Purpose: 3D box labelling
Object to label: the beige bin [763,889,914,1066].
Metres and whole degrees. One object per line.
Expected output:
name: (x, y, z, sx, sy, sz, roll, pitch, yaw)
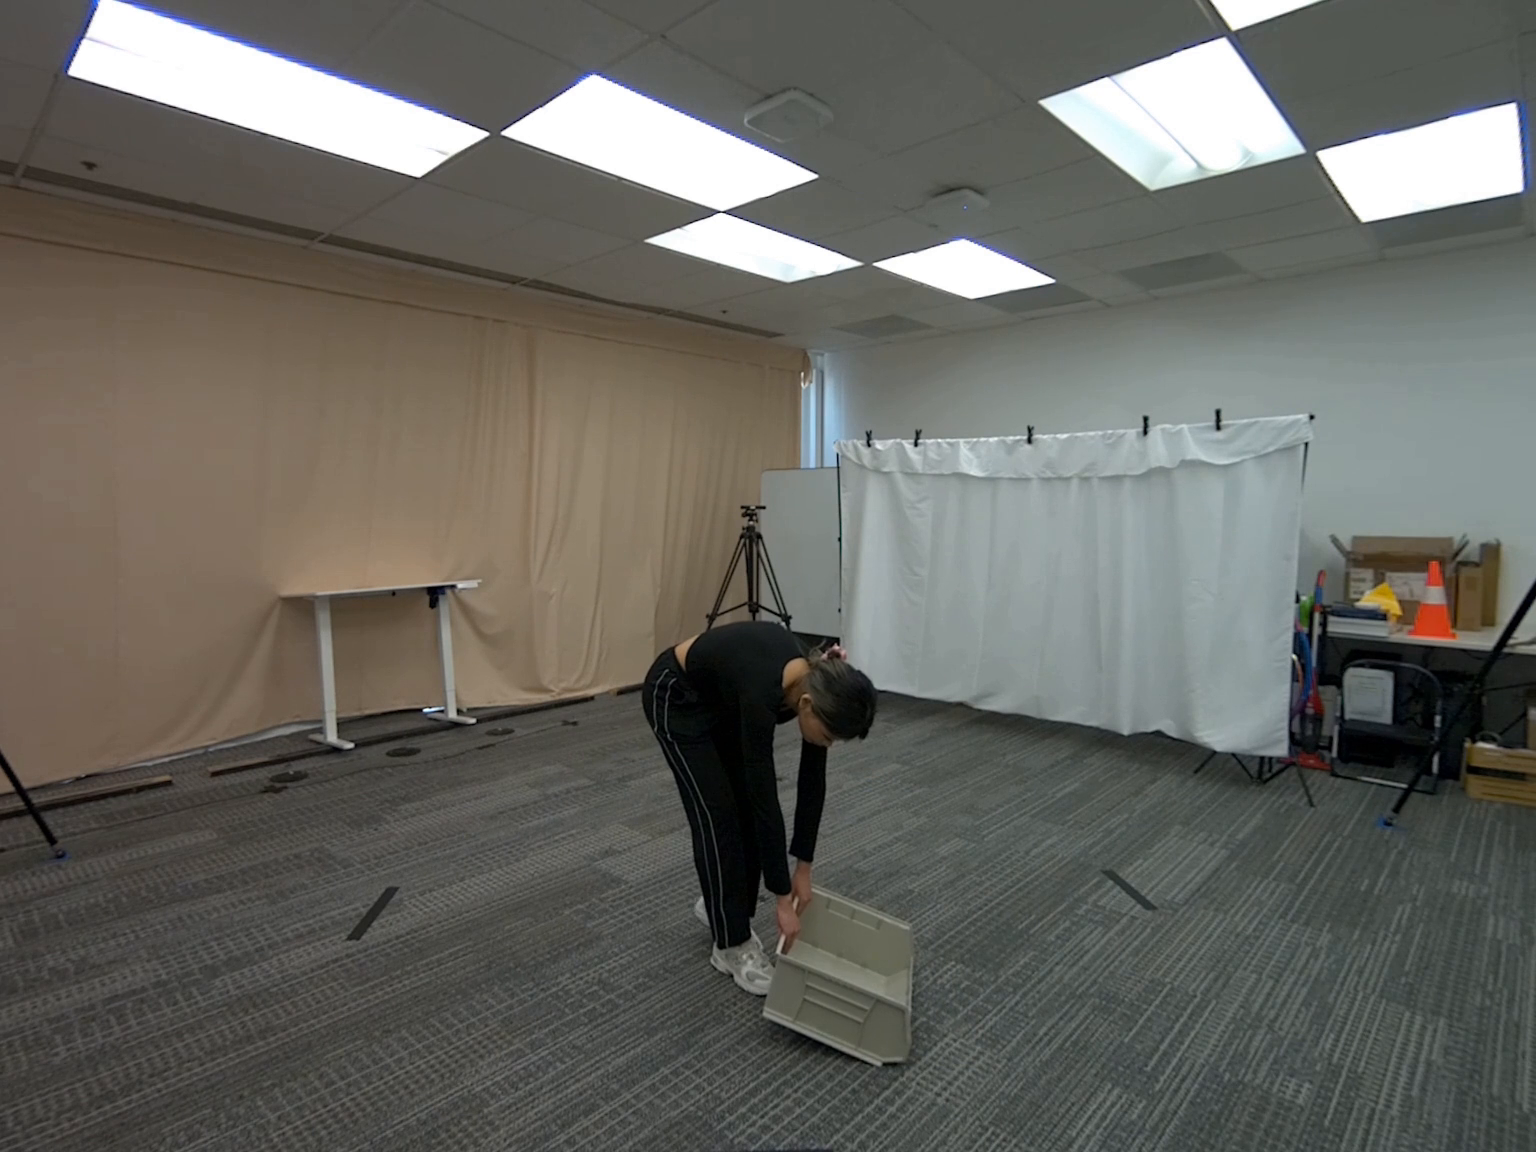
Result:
beige bin: (0.225, 1.073, 2.308, 0.381, 0.188, 0.420, 12, 9, 7)
